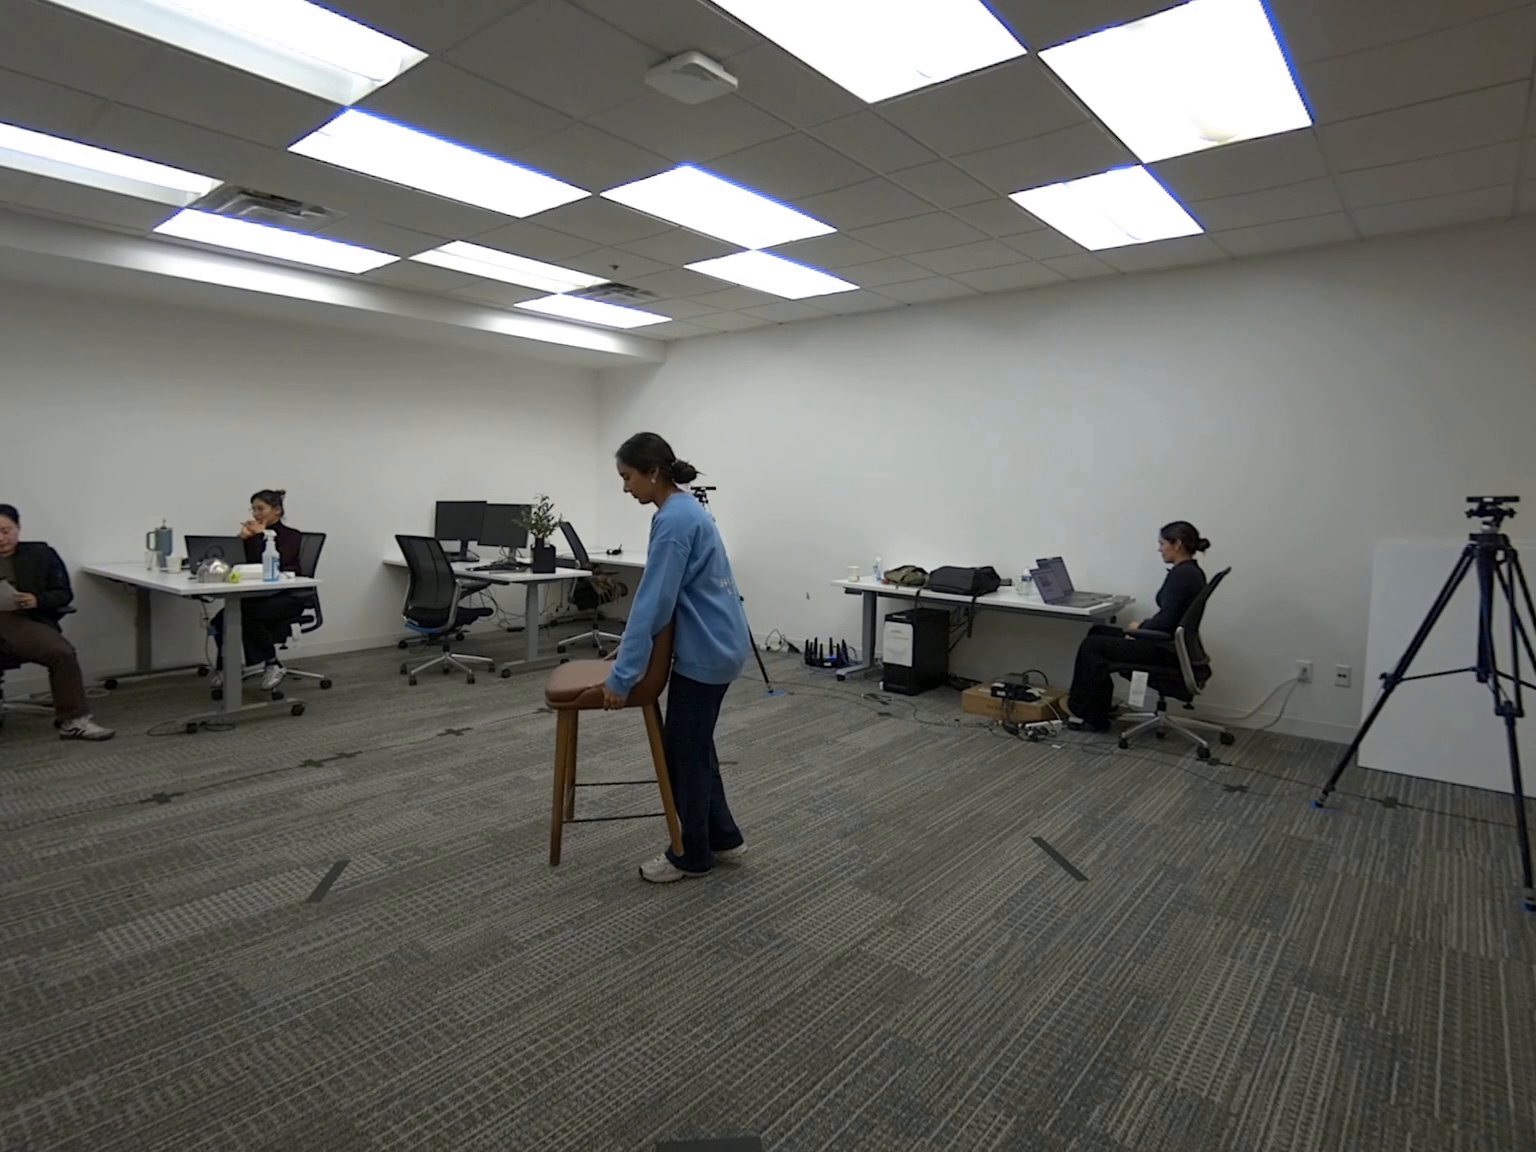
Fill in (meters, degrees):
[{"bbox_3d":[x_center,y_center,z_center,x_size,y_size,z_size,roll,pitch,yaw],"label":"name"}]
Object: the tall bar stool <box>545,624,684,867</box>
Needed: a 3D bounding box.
[{"bbox_3d":[-0.567,0.514,3.042,0.466,0.886,0.460,-1,5,-5],"label":"tall bar stool"}]
